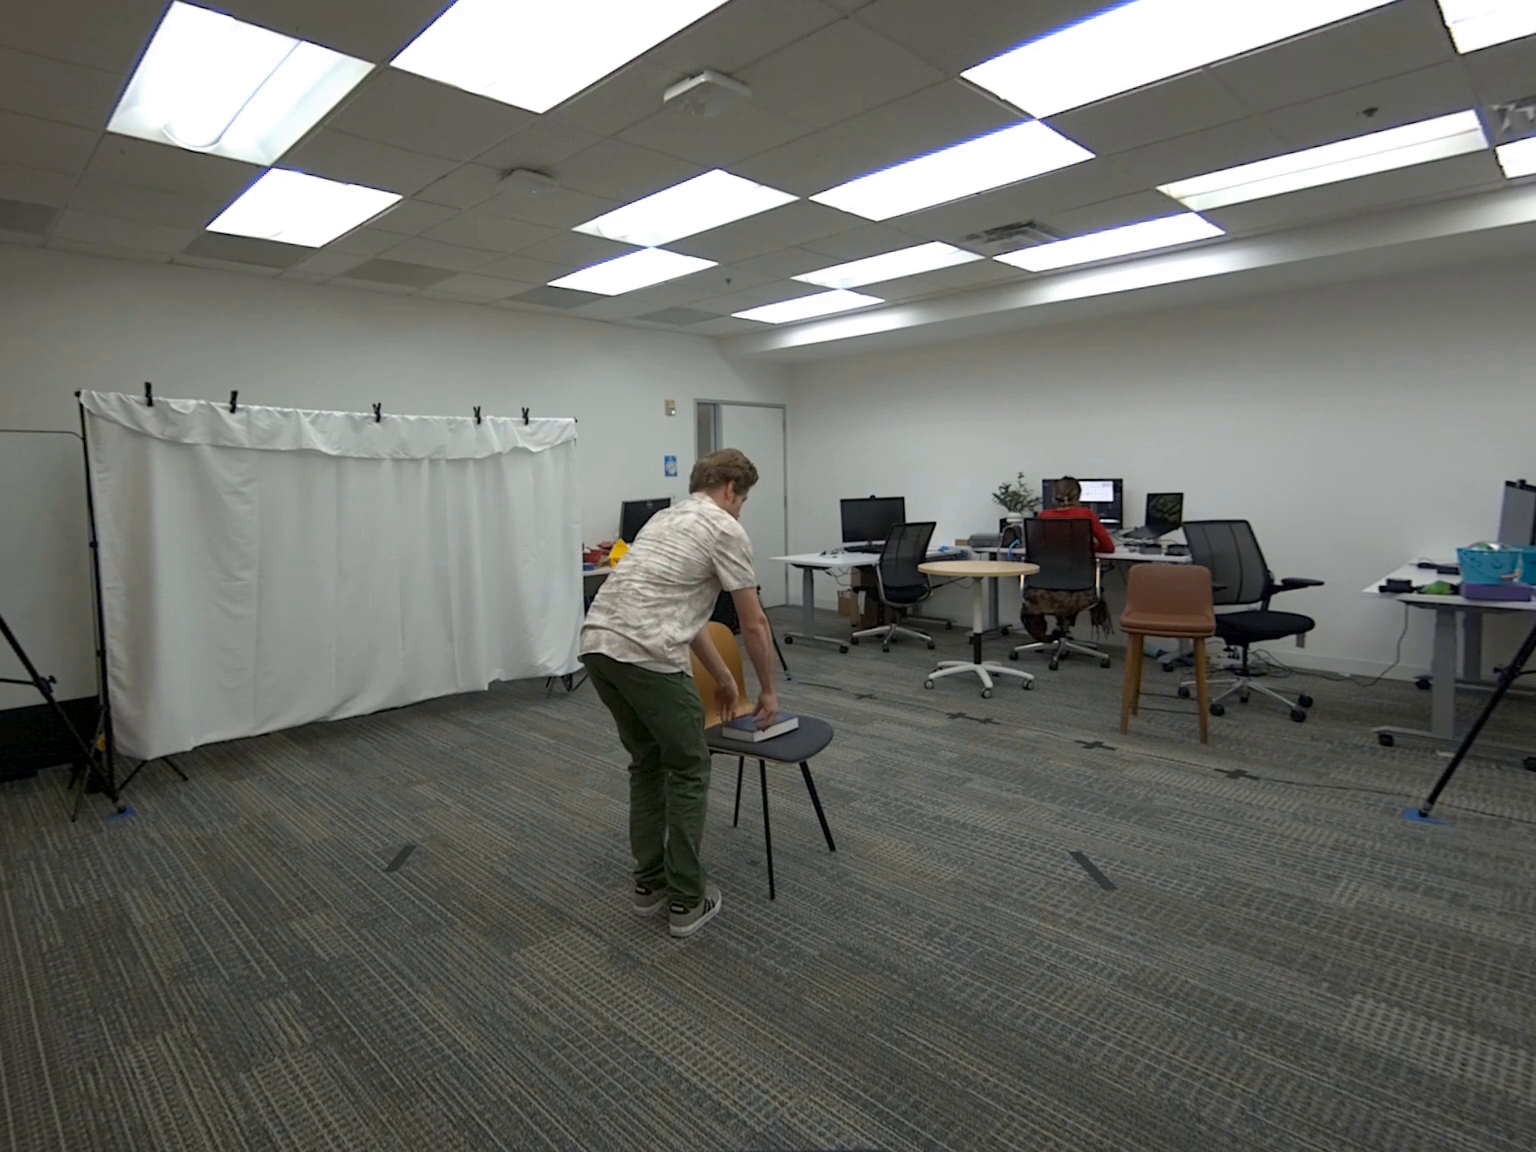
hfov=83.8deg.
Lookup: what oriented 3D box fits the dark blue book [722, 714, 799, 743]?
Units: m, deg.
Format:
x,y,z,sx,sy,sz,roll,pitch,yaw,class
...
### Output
x,y,z,sx,sy,sz,roll,pitch,yaw,class
-0.028,0.539,3.084,0.168,0.045,0.239,1,7,43,dark blue book
